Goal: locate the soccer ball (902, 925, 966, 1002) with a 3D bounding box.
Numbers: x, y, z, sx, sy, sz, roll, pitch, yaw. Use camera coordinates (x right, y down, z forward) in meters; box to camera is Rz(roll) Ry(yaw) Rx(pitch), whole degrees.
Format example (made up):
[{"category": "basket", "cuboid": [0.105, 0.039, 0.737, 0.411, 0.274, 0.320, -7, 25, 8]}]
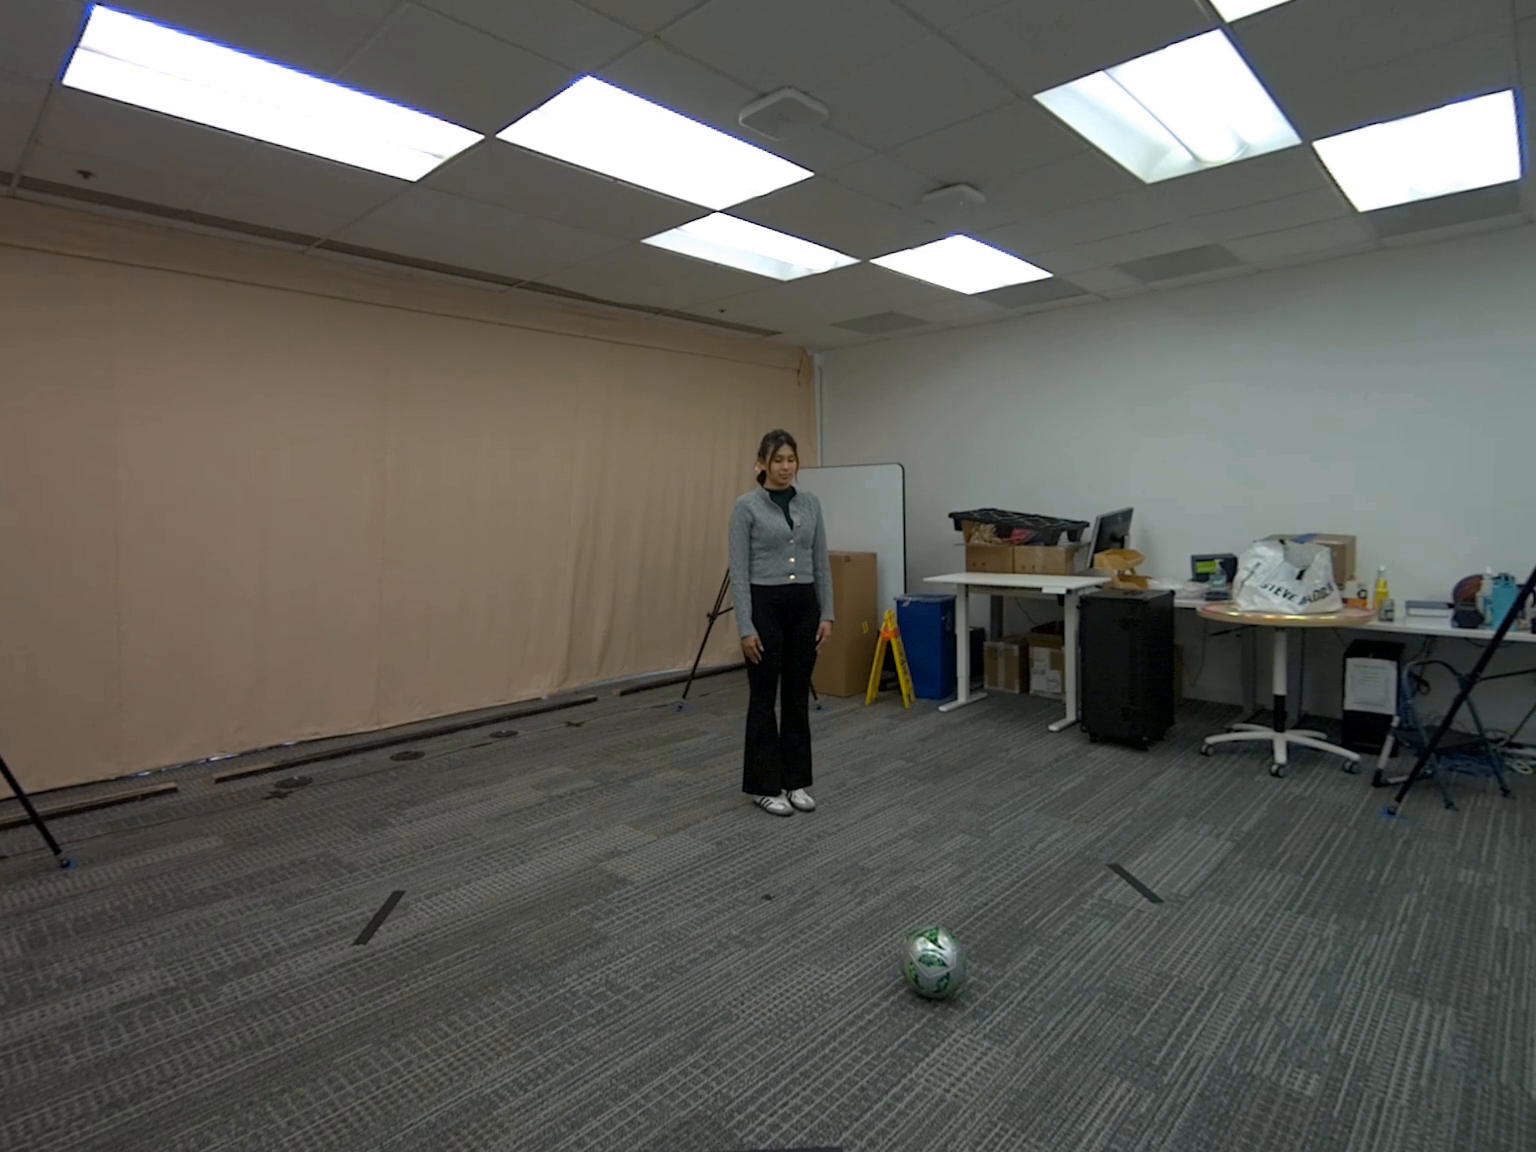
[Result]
[{"category": "soccer ball", "cuboid": [0.470, 1.091, 2.383, 0.187, 0.187, 0.188, -1, 4, -2]}]
